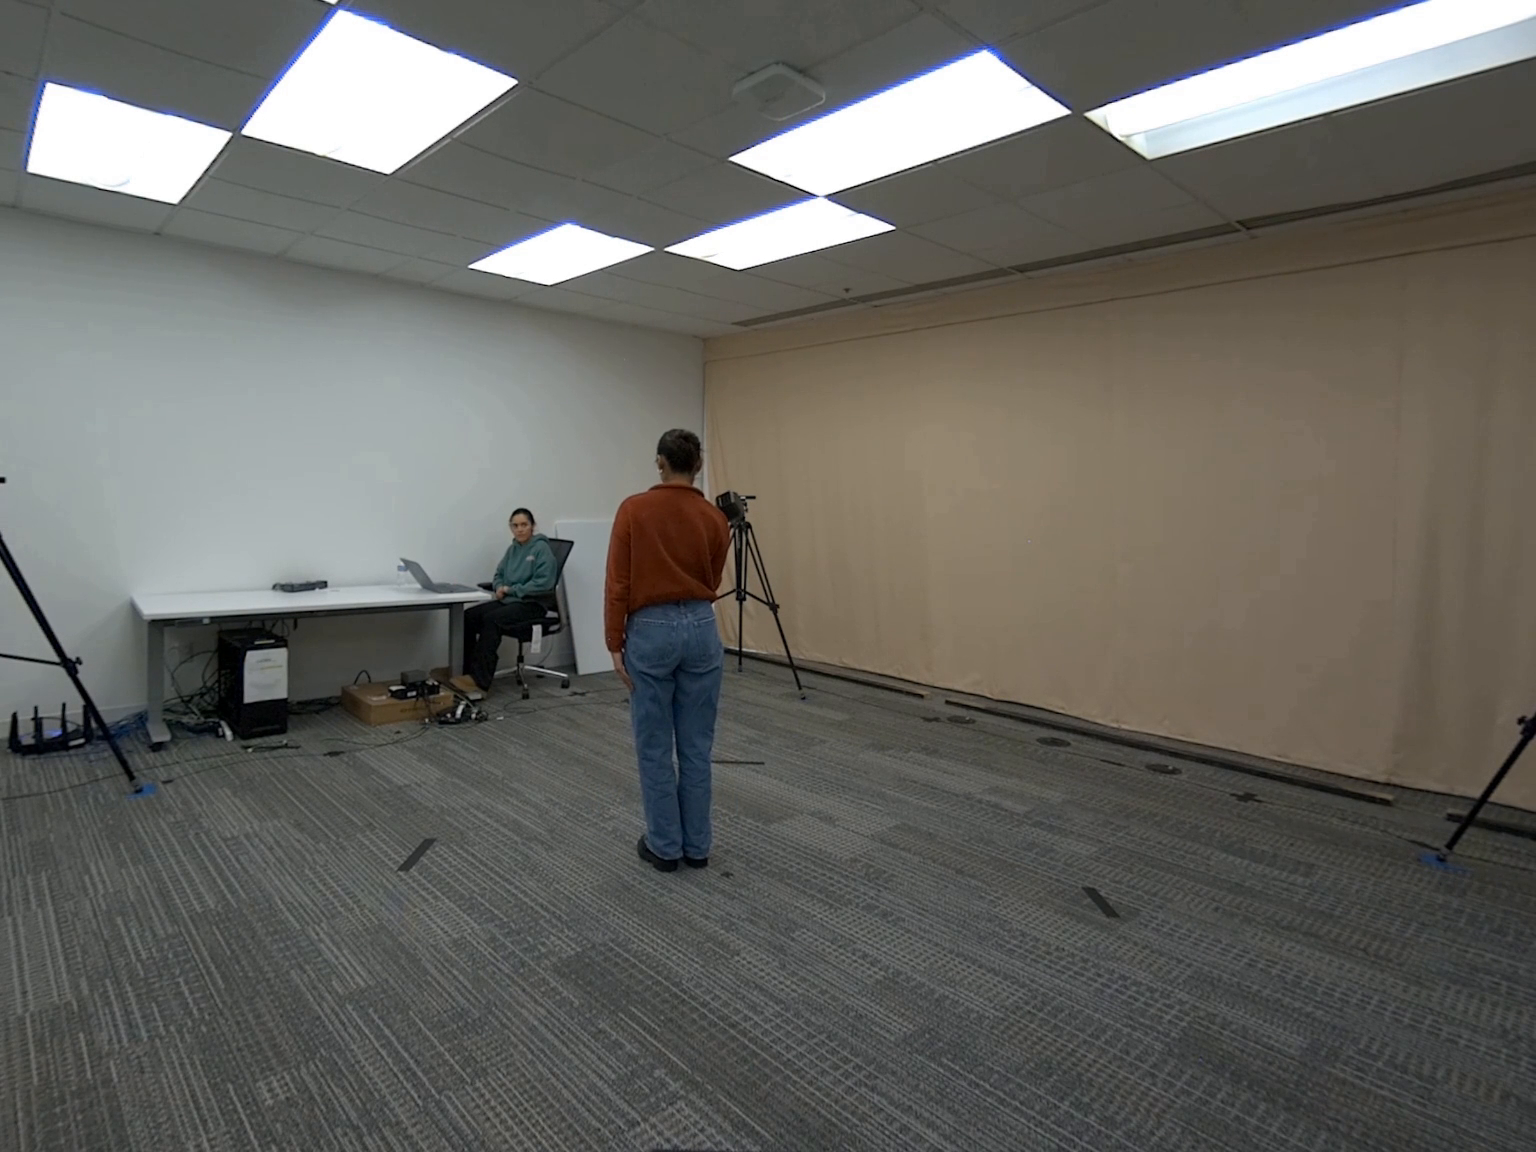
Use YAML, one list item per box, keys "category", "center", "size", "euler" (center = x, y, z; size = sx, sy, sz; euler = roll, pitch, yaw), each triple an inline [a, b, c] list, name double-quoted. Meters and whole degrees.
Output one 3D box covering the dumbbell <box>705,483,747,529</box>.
- category: "dumbbell"
  center: [-0.246, -0.225, 3.281]
  size: [0.295, 0.120, 0.110]
  euler: [-25, 22, 18]
